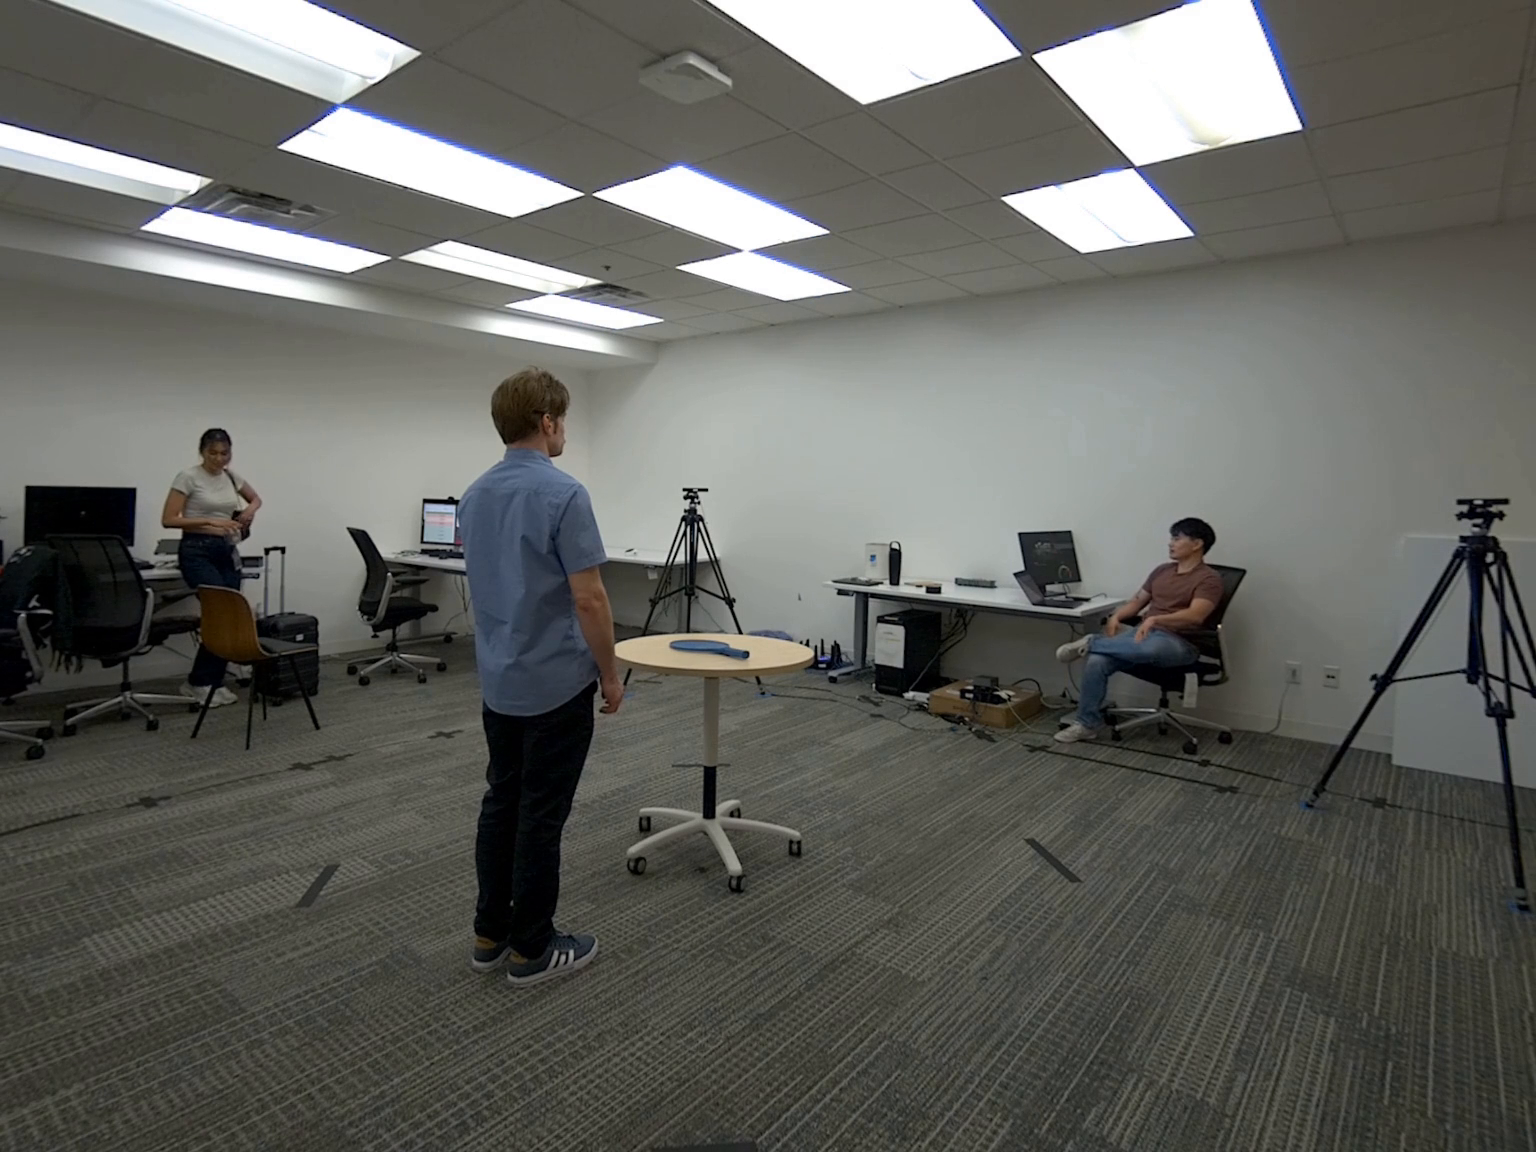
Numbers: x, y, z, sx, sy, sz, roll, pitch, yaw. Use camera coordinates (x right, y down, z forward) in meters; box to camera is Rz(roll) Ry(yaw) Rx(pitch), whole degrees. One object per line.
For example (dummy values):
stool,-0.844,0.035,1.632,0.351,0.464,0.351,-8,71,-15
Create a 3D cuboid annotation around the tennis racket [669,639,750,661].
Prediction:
tennis racket,-0.225,0.270,3.184,0.207,0.032,0.447,-2,4,-37
